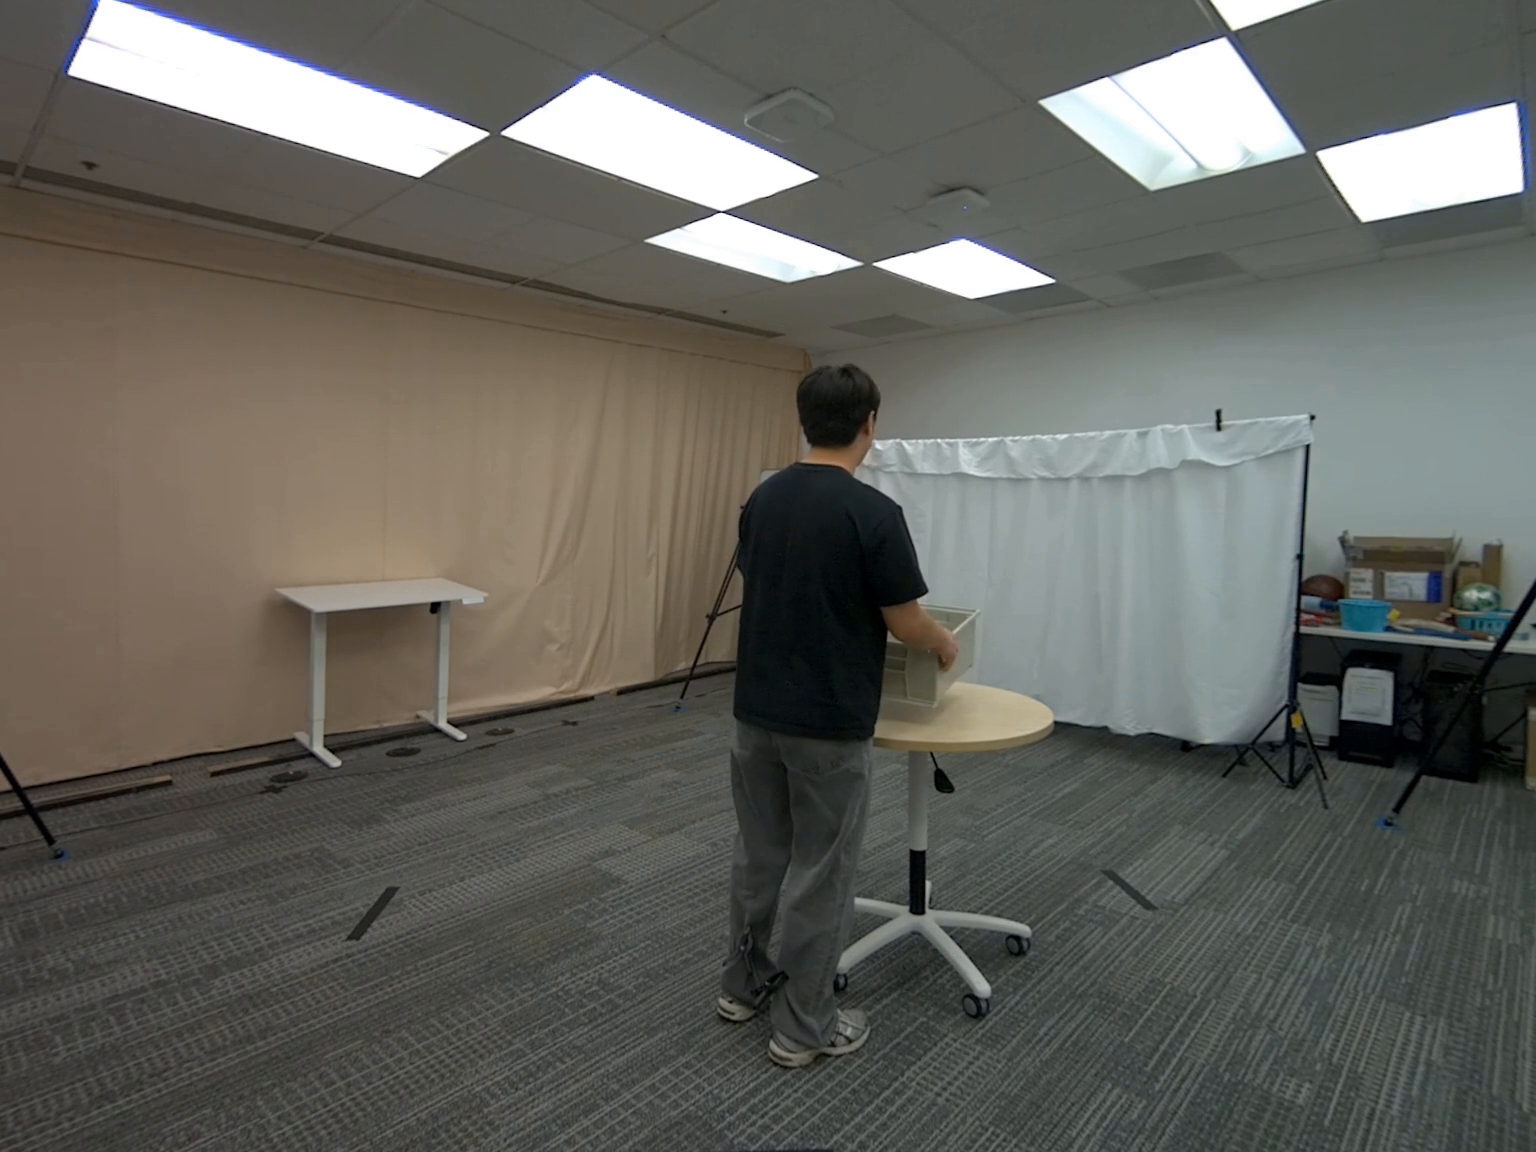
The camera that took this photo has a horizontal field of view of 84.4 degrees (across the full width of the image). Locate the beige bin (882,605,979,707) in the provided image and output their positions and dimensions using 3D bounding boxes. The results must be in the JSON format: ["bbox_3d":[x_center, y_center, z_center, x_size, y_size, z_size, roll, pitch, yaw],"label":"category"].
[{"bbox_3d":[0.392,0.226,2.556,0.388,0.187,0.413,5,14,29],"label":"beige bin"}]
